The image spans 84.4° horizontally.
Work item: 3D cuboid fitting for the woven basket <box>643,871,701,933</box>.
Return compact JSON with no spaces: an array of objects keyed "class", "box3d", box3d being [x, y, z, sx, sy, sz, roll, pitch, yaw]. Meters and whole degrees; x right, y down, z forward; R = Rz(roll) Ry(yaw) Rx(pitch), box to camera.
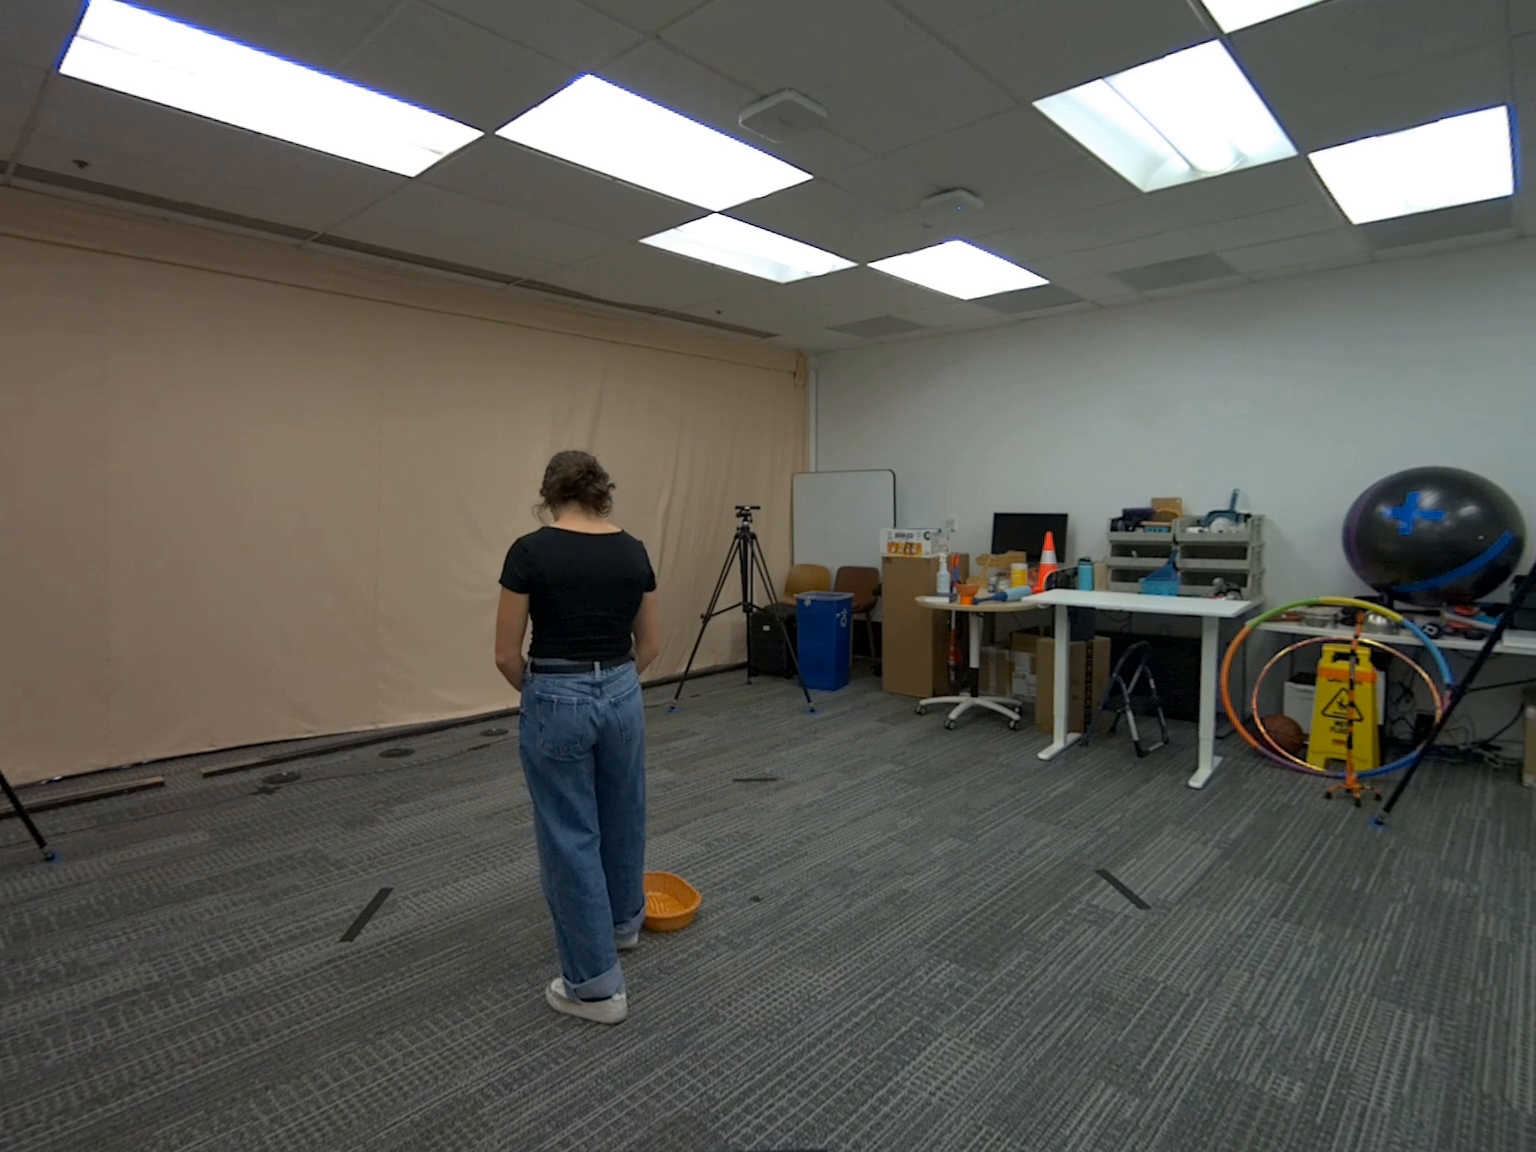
[{"class":"woven basket","box3d":[-0.378,1.113,2.882,0.246,0.073,0.361,-4,6,-30]}]
